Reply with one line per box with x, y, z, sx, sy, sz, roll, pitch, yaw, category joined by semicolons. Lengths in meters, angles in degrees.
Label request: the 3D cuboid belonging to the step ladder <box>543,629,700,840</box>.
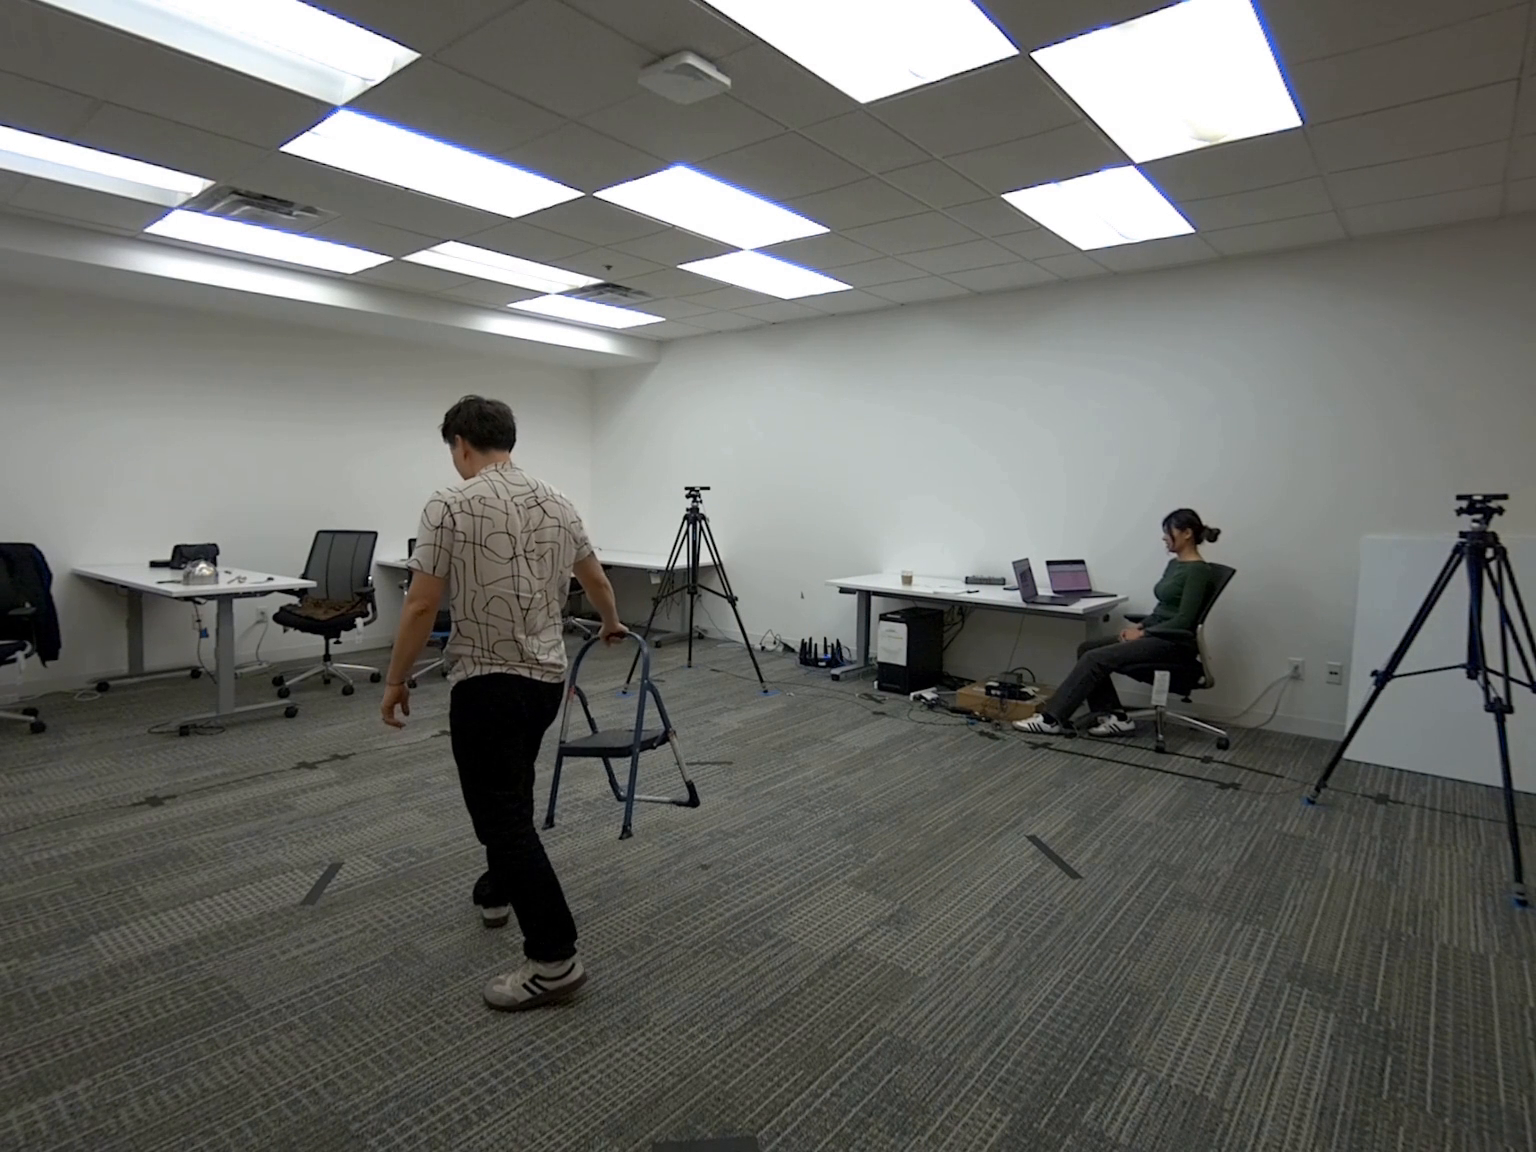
-0.544;0.499;2.849;0.442;0.608;0.339;-10;-3;40;step ladder
